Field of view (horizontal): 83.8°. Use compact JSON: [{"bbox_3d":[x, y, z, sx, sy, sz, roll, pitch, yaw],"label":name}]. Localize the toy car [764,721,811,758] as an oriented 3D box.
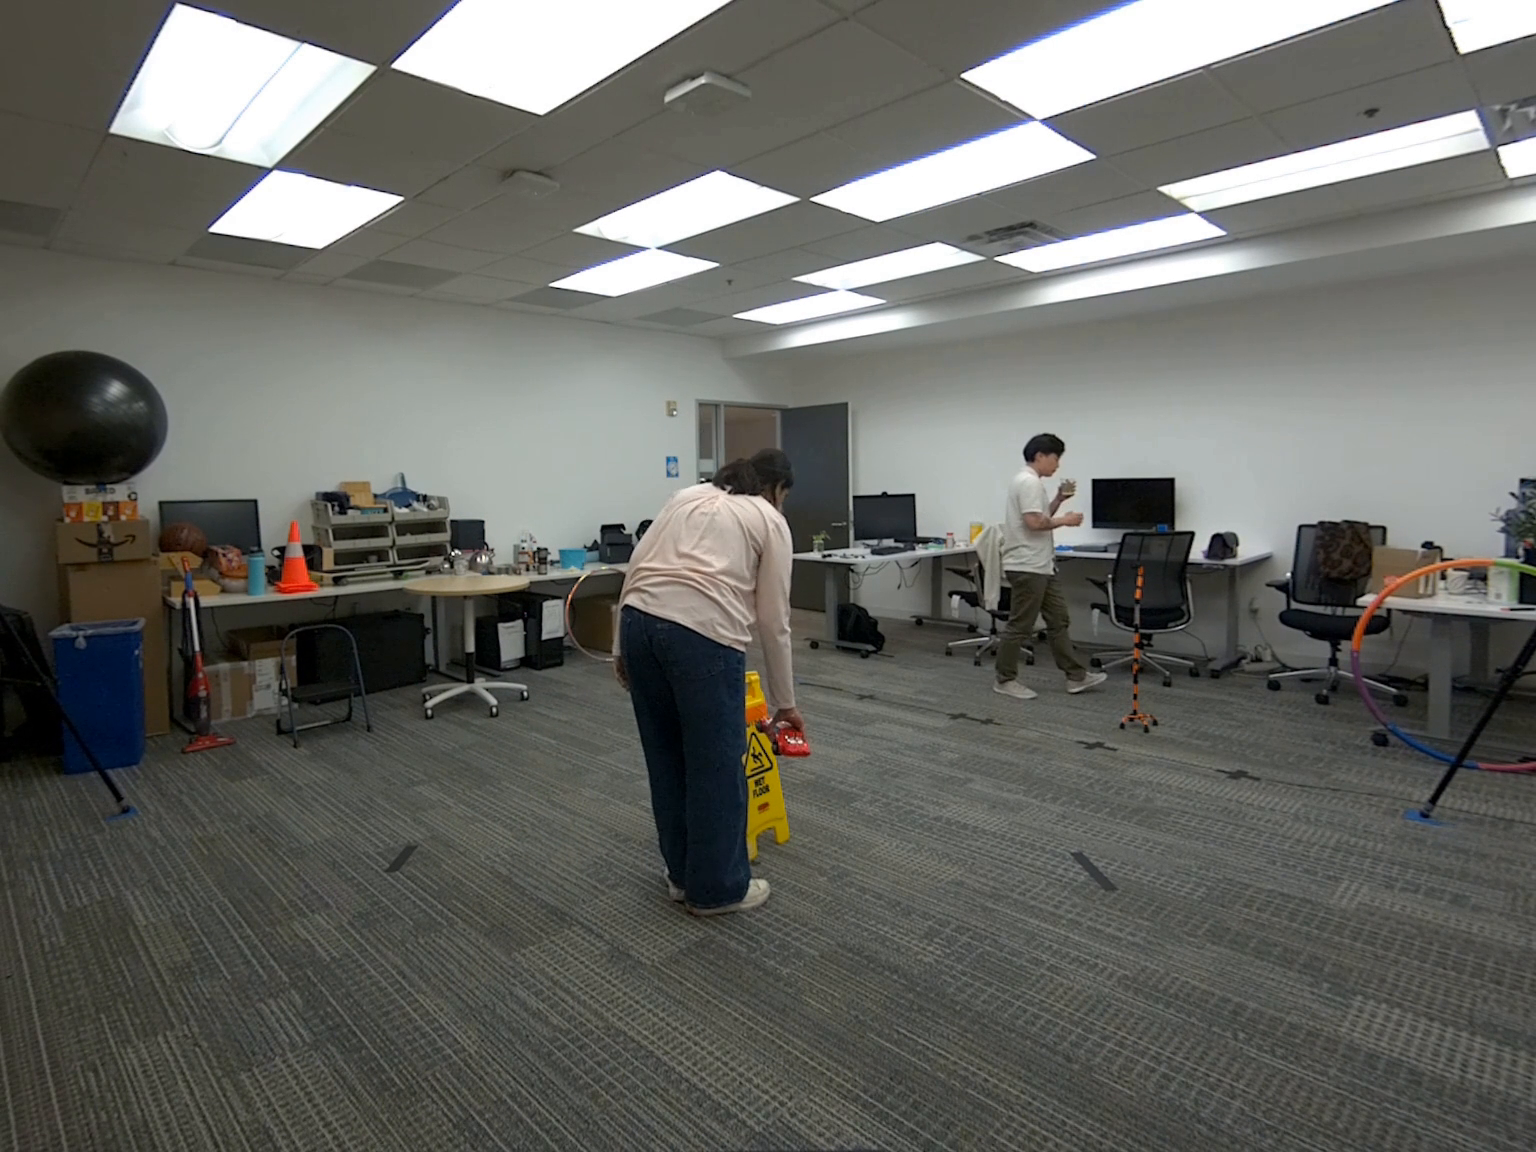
[{"bbox_3d":[0.058,0.548,2.834,0.127,0.083,0.261,7,6,-23],"label":"toy car"}]
